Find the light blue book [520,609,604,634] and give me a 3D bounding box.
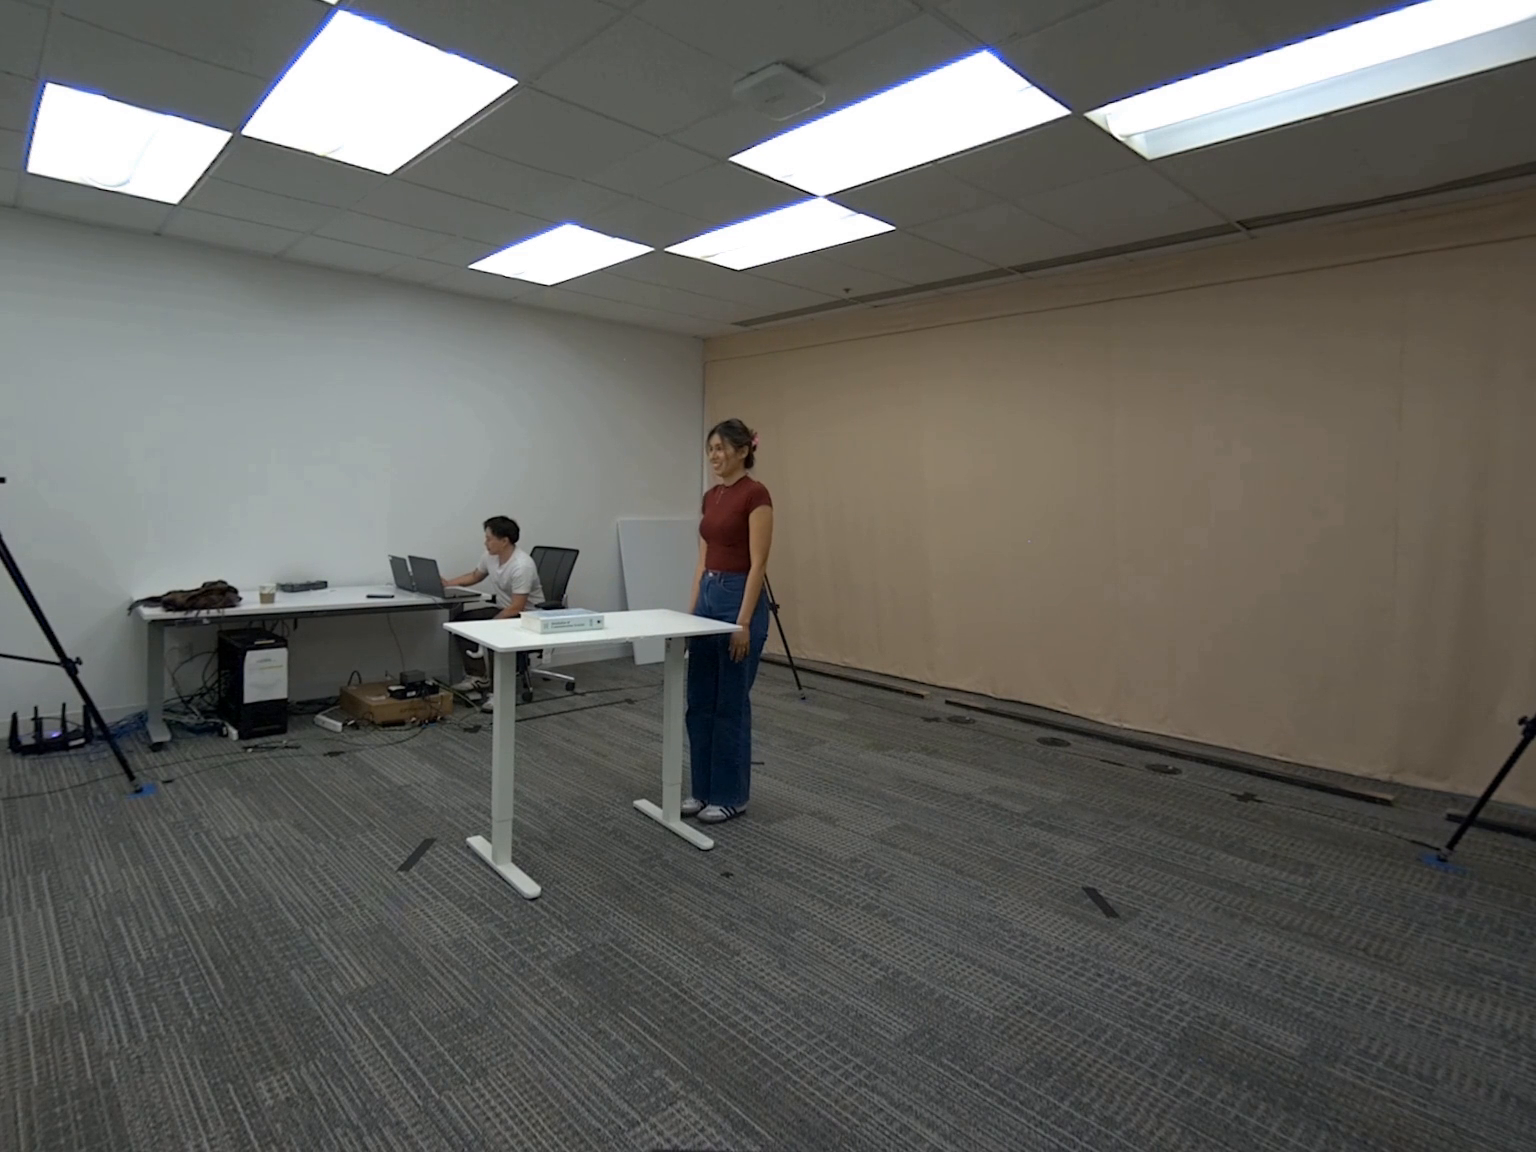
[{"bbox_3d":[-0.797,0.171,3.193,0.255,0.059,0.196,-2,7,-39],"label":"light blue book"}]
